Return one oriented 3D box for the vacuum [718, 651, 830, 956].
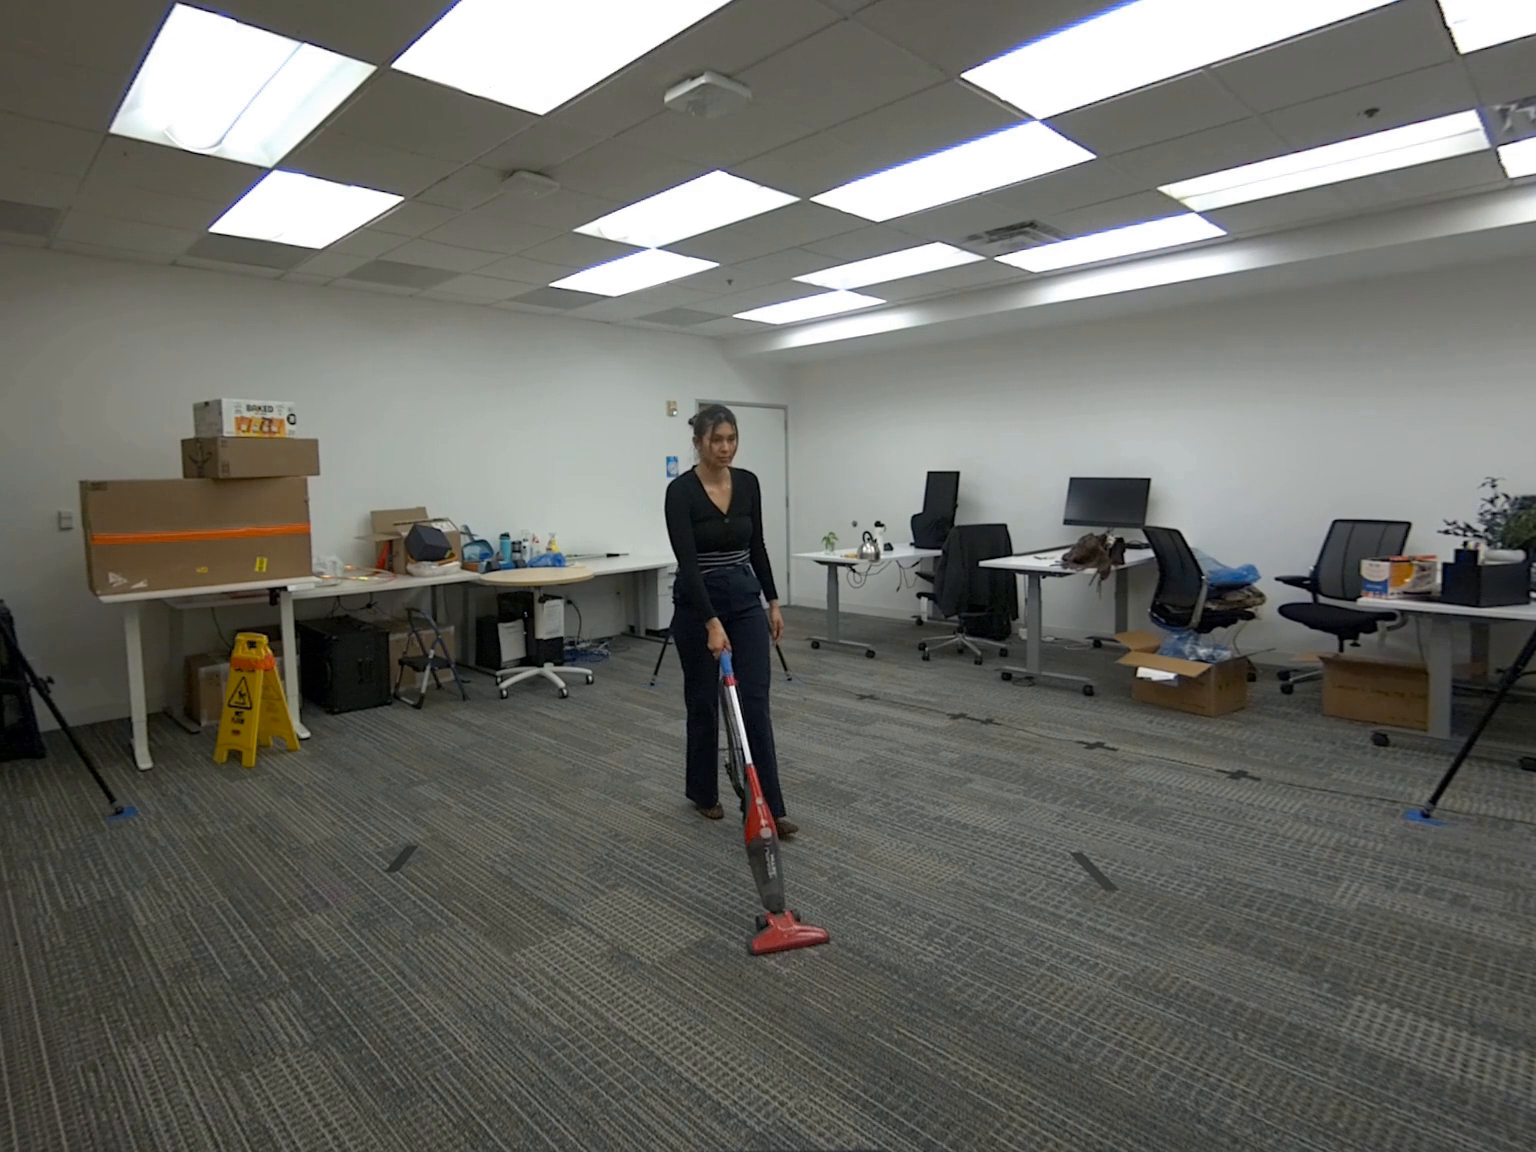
[{"bbox_3d":[-0.068,0.666,2.901,0.248,1.083,0.142,-1,-37,-18],"label":"vacuum"}]
